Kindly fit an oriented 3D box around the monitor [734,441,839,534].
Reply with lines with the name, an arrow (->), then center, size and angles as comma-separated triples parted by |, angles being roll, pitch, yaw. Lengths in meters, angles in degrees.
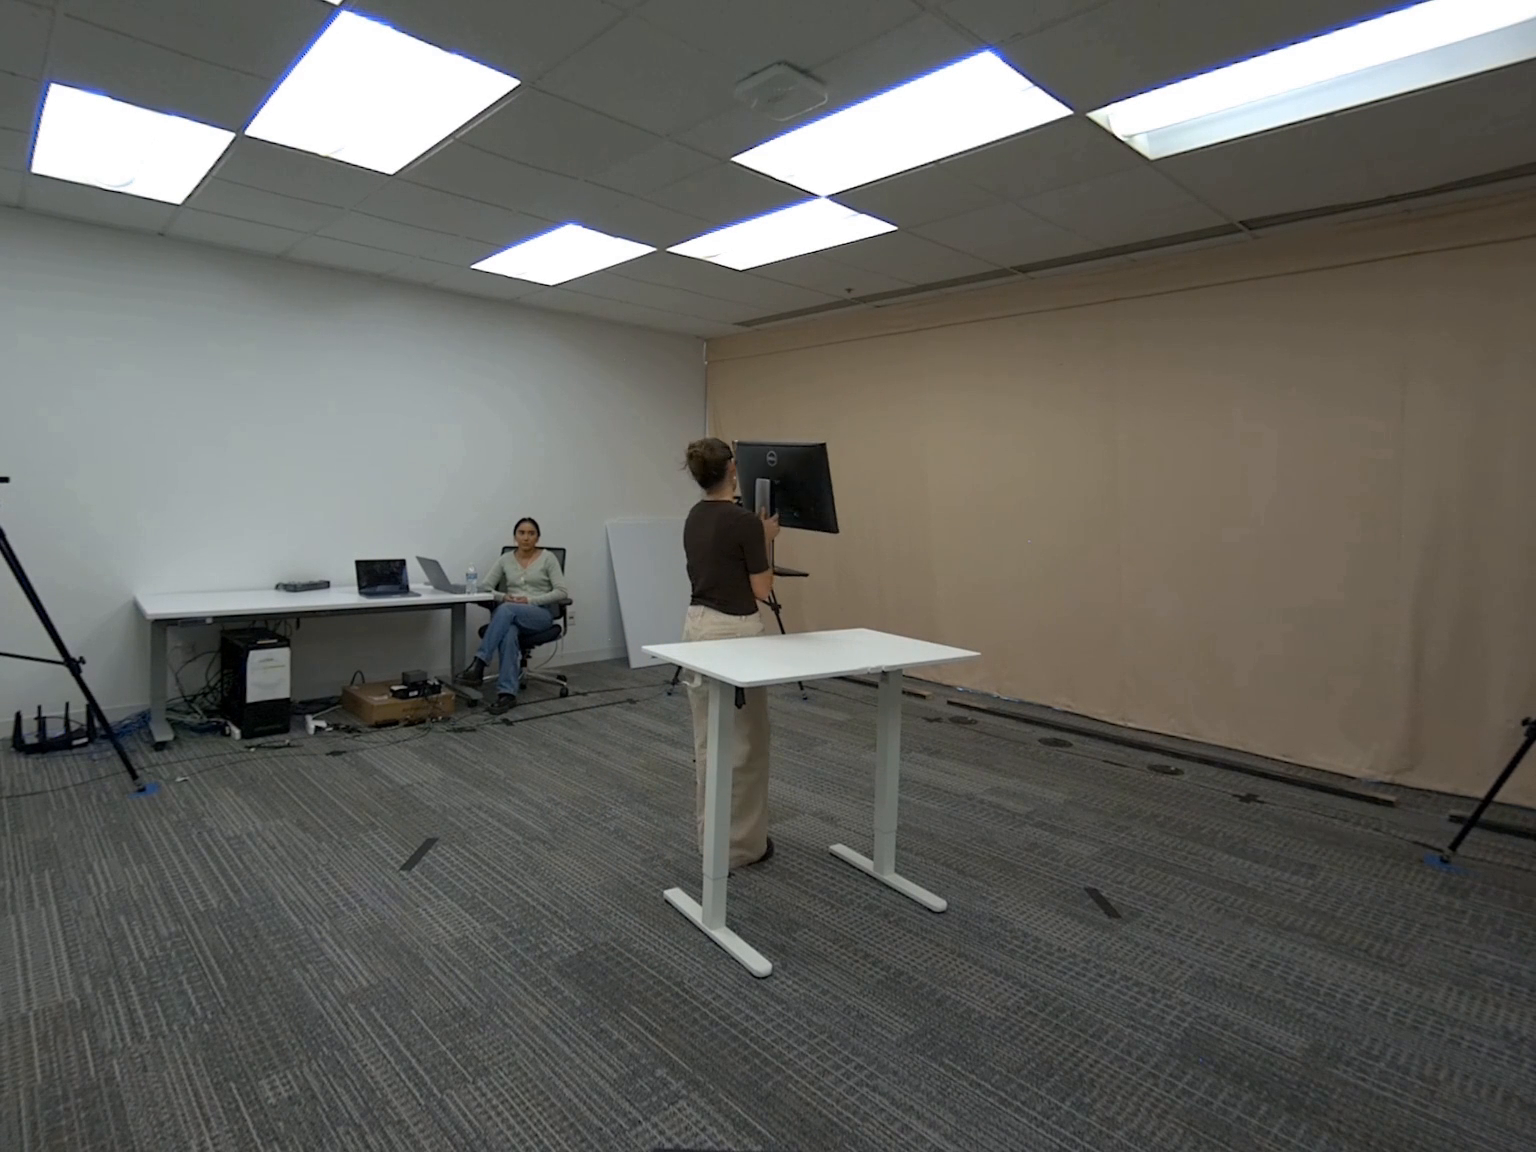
monitor -> 0.025, -0.271, 3.309 | 0.183, 0.519, 0.554 | -6, 11, -41
